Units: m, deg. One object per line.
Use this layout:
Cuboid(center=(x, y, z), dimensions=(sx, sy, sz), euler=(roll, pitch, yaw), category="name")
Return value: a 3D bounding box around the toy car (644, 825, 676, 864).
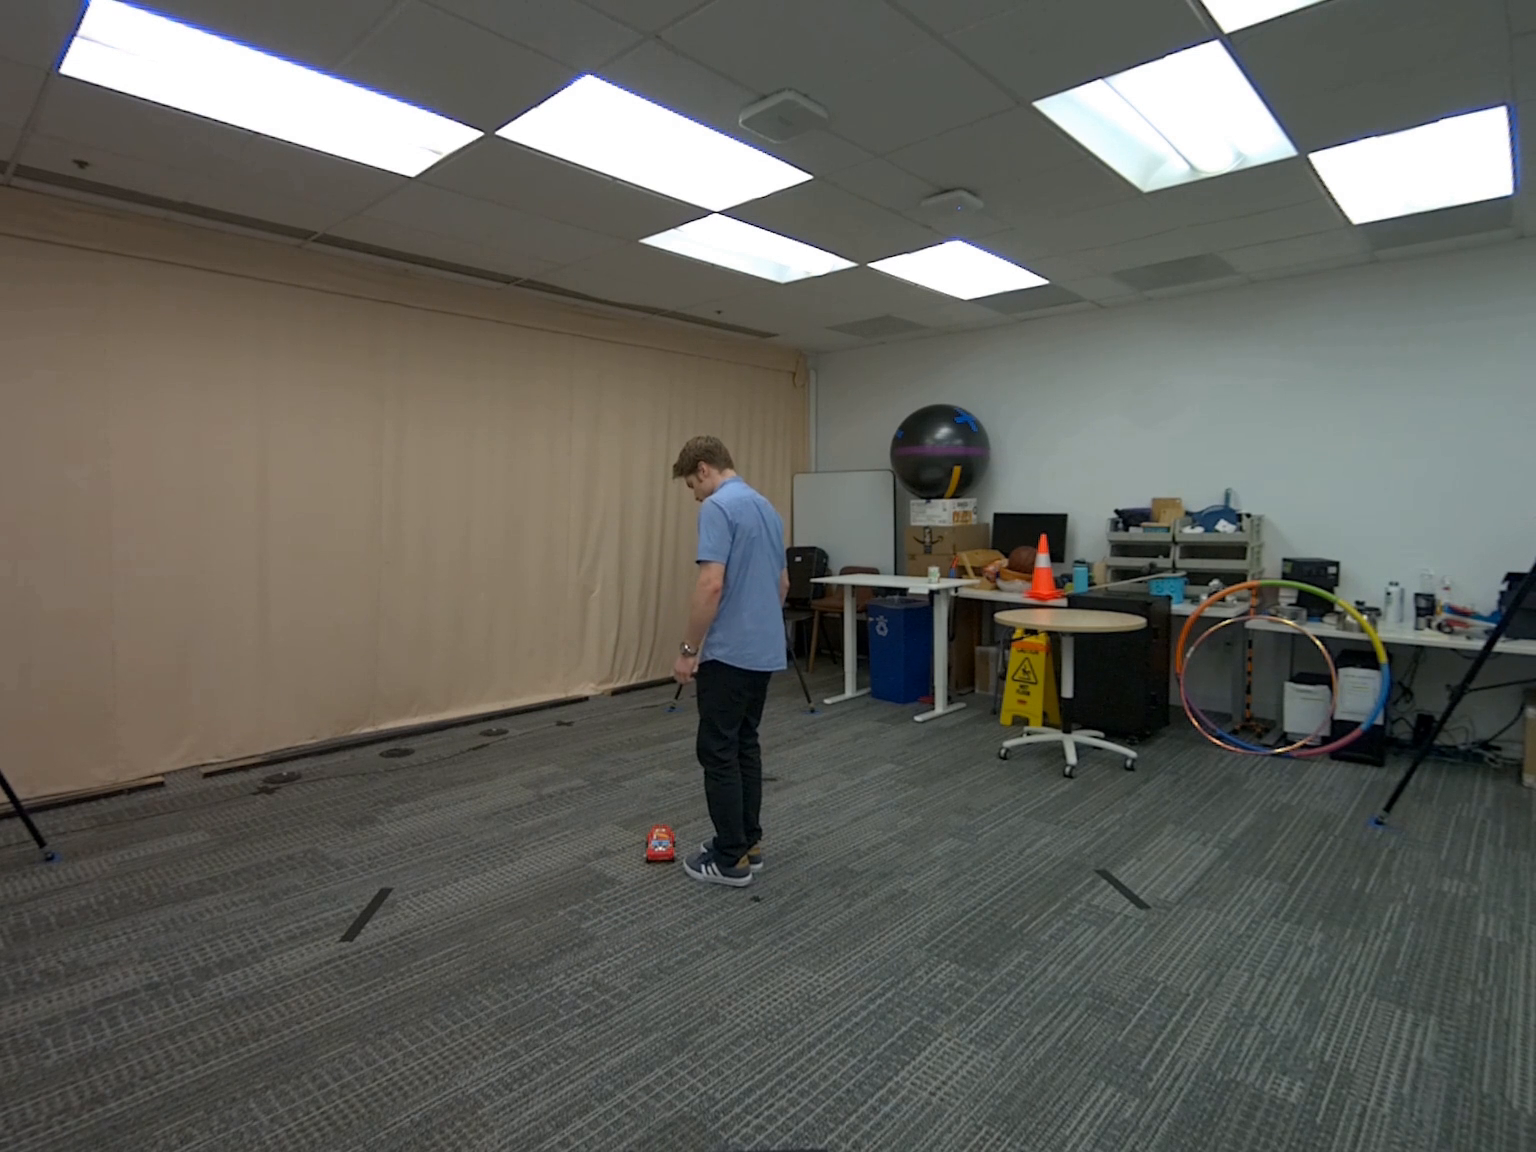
Cuboid(center=(-0.433, 1.081, 3.398), dimensions=(0.130, 0.082, 0.258), euler=(0, 16, -5), category="toy car")
